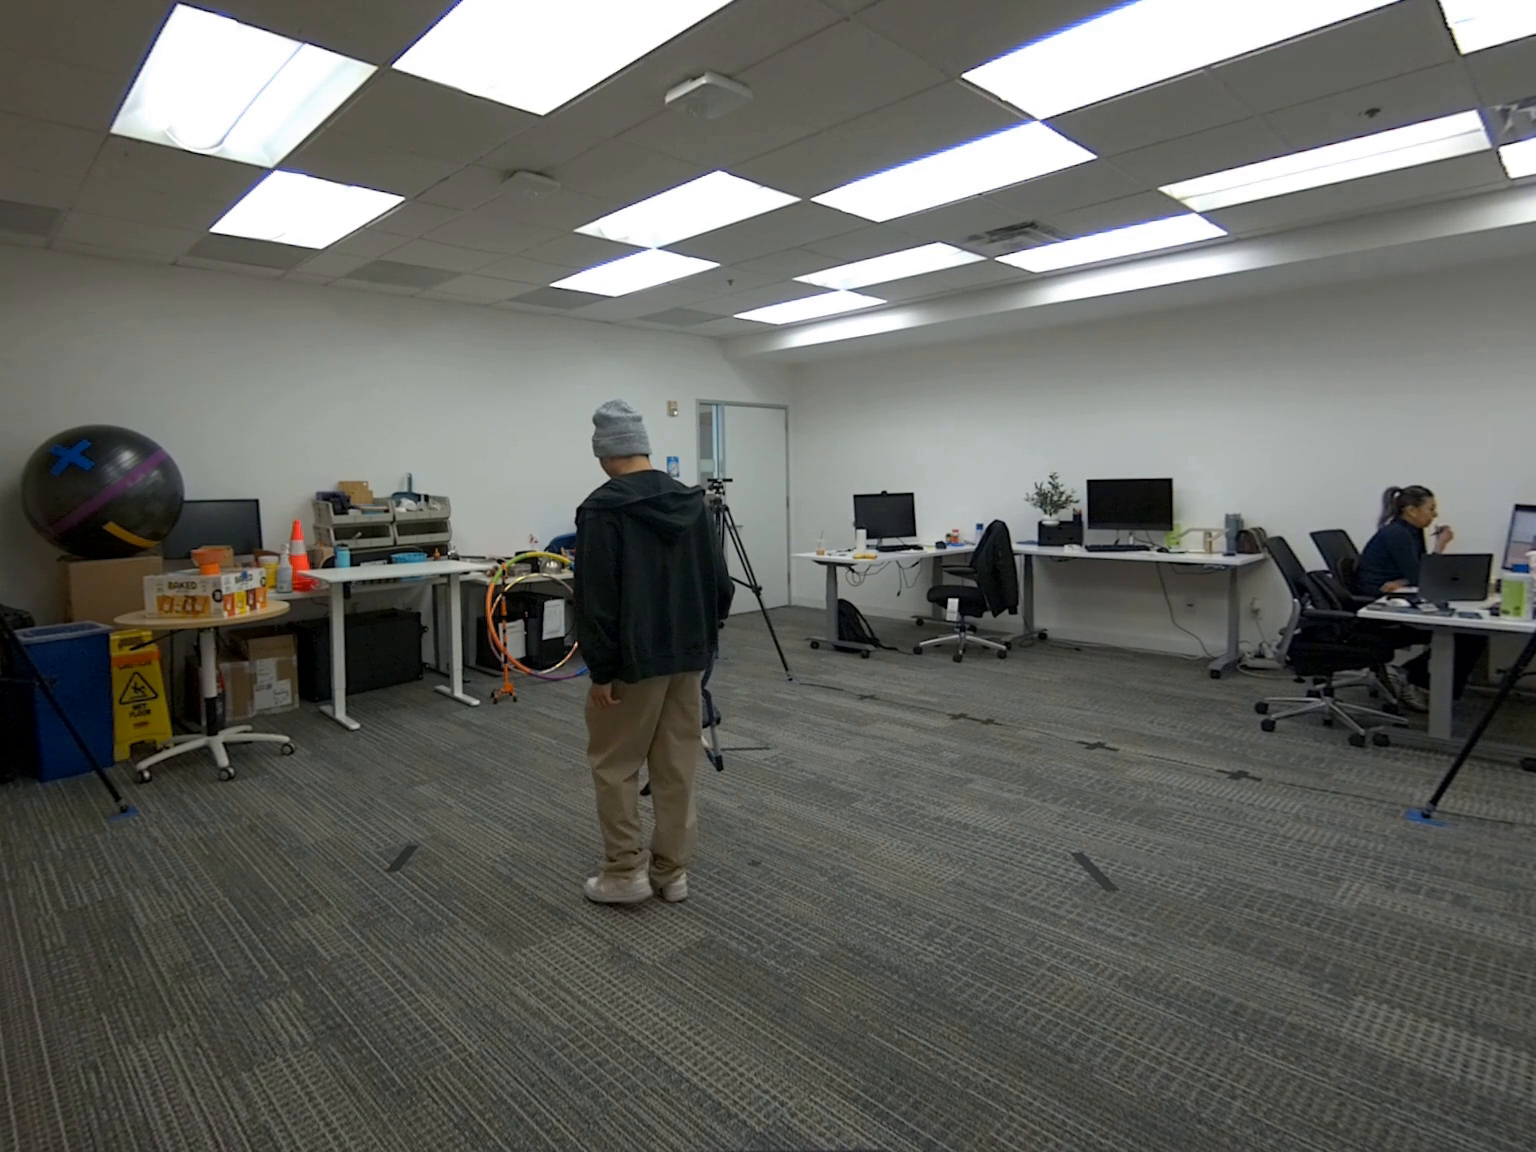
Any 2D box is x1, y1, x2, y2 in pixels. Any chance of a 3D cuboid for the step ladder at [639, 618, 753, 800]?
[{"bbox_3d":[-0.362,0.426,3.253,0.342,0.595,0.448,-9,34,-30],"label":"step ladder"}]
